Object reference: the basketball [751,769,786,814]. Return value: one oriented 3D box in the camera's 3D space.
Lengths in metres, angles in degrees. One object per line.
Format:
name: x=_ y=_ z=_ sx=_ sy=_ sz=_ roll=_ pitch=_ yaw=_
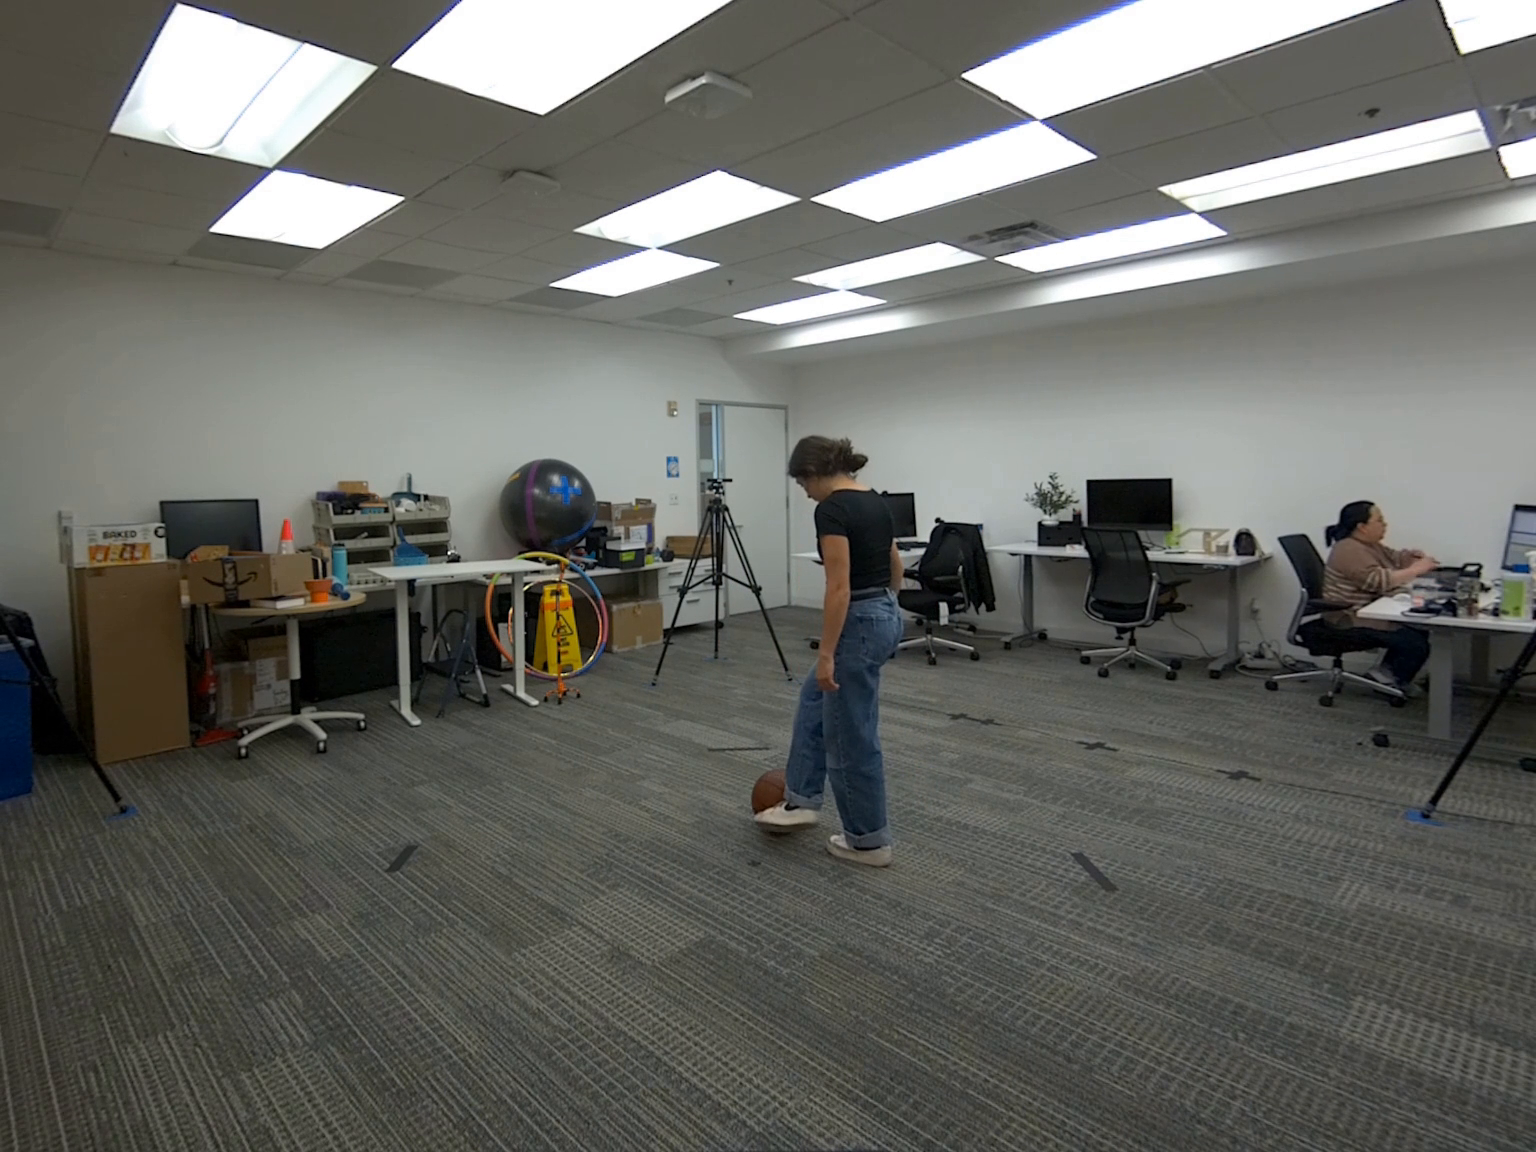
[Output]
basketball: x=0.054 y=0.889 z=3.406 sx=0.236 sy=0.235 sz=0.237 roll=-1 pitch=5 yaw=-2
